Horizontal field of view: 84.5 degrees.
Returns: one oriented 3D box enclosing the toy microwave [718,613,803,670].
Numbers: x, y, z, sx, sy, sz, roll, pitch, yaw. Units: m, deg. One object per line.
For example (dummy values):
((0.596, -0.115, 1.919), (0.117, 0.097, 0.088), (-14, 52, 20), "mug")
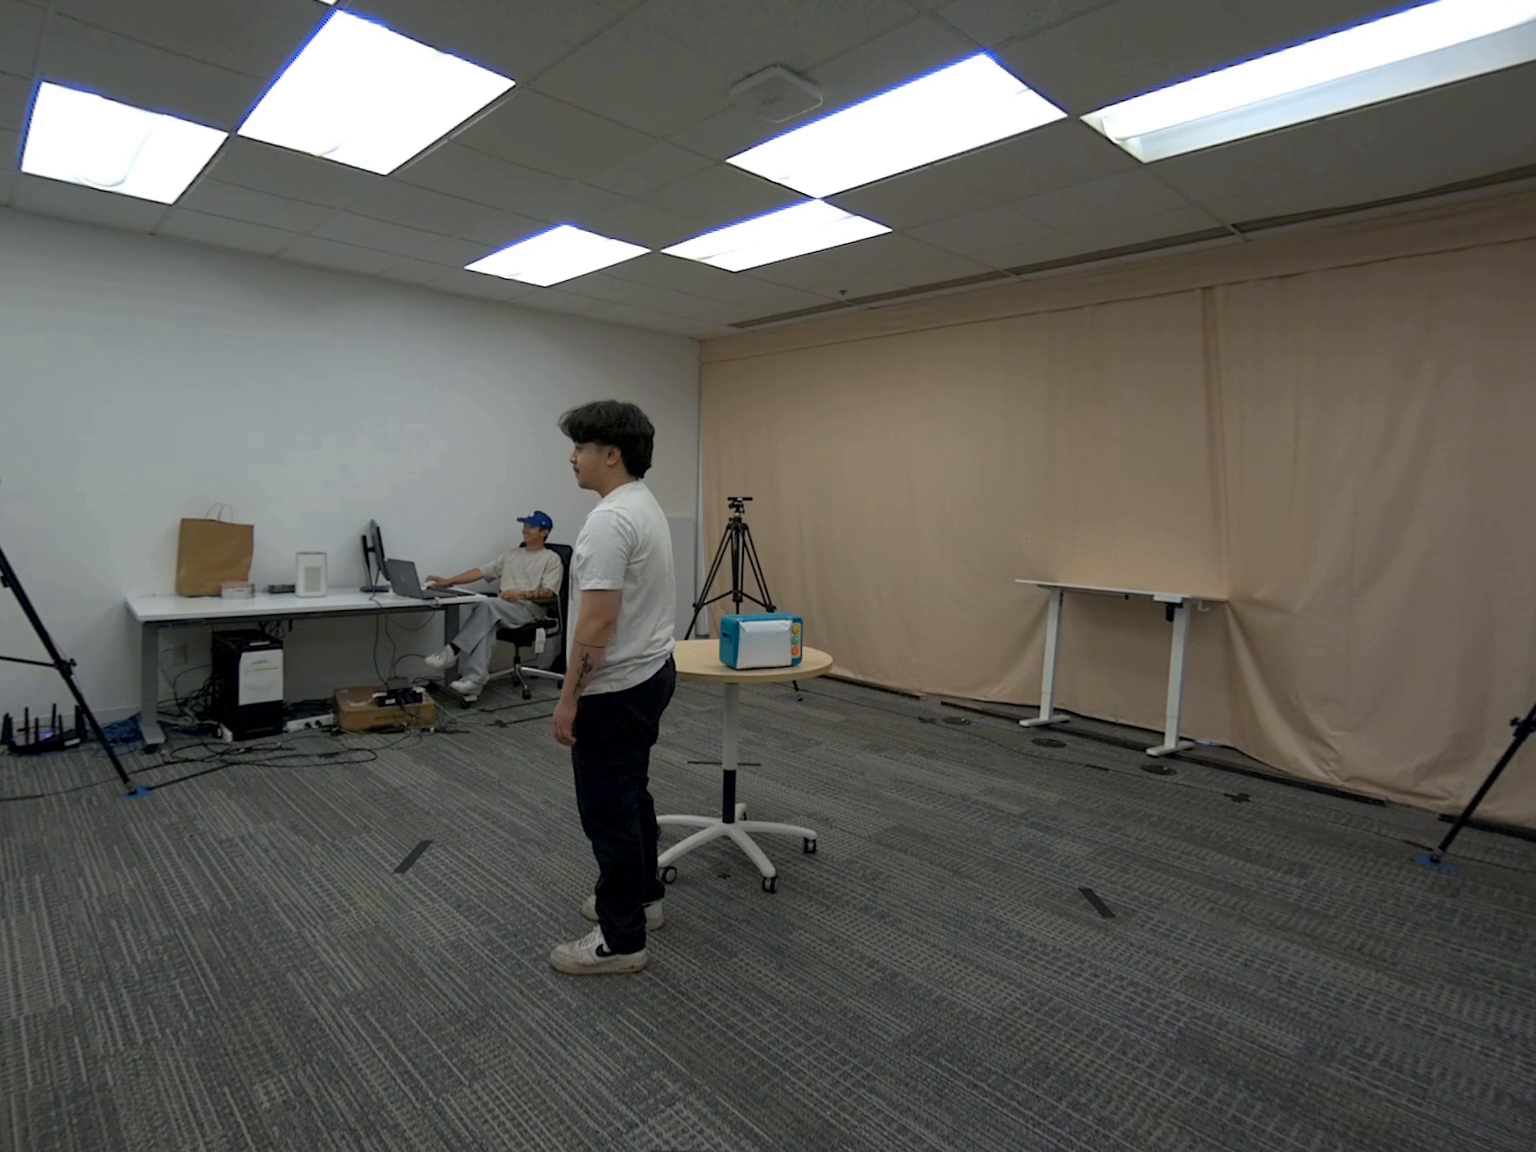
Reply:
((-0.026, 0.234, 3.013), (0.281, 0.184, 0.155), (-1, 4, -27), "toy microwave")
